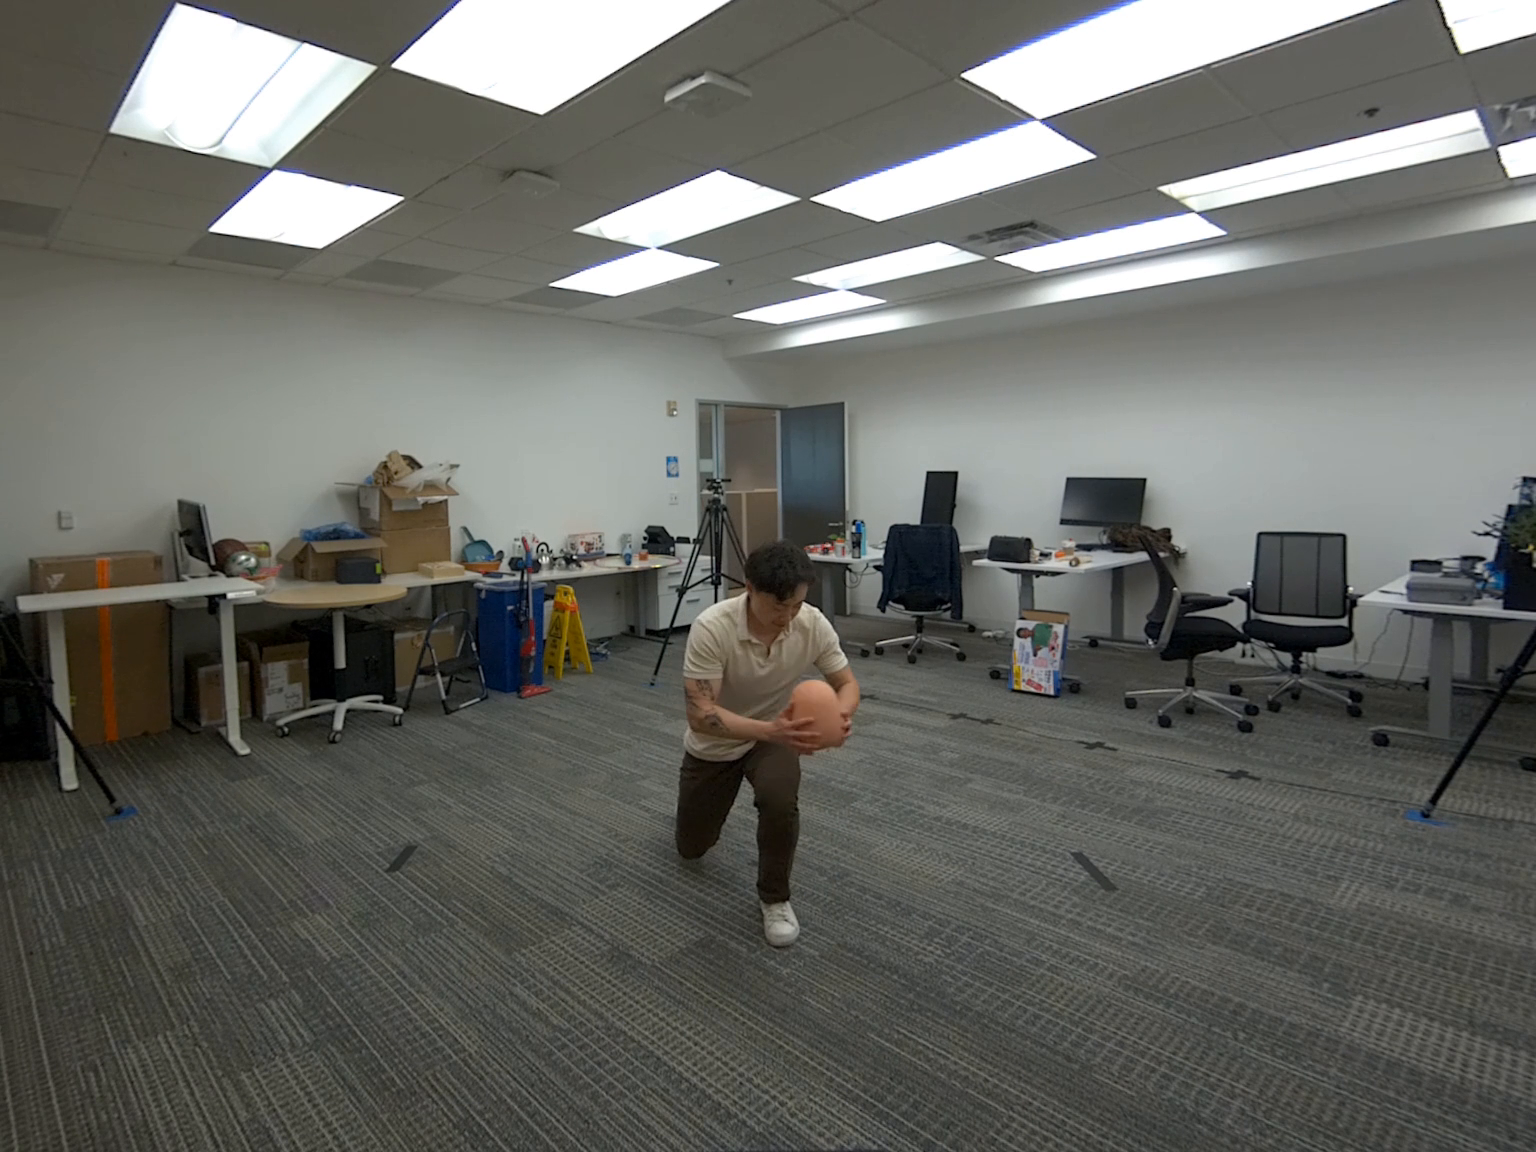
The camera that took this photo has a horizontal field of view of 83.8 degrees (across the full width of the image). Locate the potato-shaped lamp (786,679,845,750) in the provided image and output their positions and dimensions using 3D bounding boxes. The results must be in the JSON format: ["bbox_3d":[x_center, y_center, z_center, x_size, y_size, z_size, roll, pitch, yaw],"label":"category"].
[{"bbox_3d":[0.123,0.405,2.501,0.164,0.200,0.171,-5,-8,-7],"label":"potato-shaped lamp"}]
